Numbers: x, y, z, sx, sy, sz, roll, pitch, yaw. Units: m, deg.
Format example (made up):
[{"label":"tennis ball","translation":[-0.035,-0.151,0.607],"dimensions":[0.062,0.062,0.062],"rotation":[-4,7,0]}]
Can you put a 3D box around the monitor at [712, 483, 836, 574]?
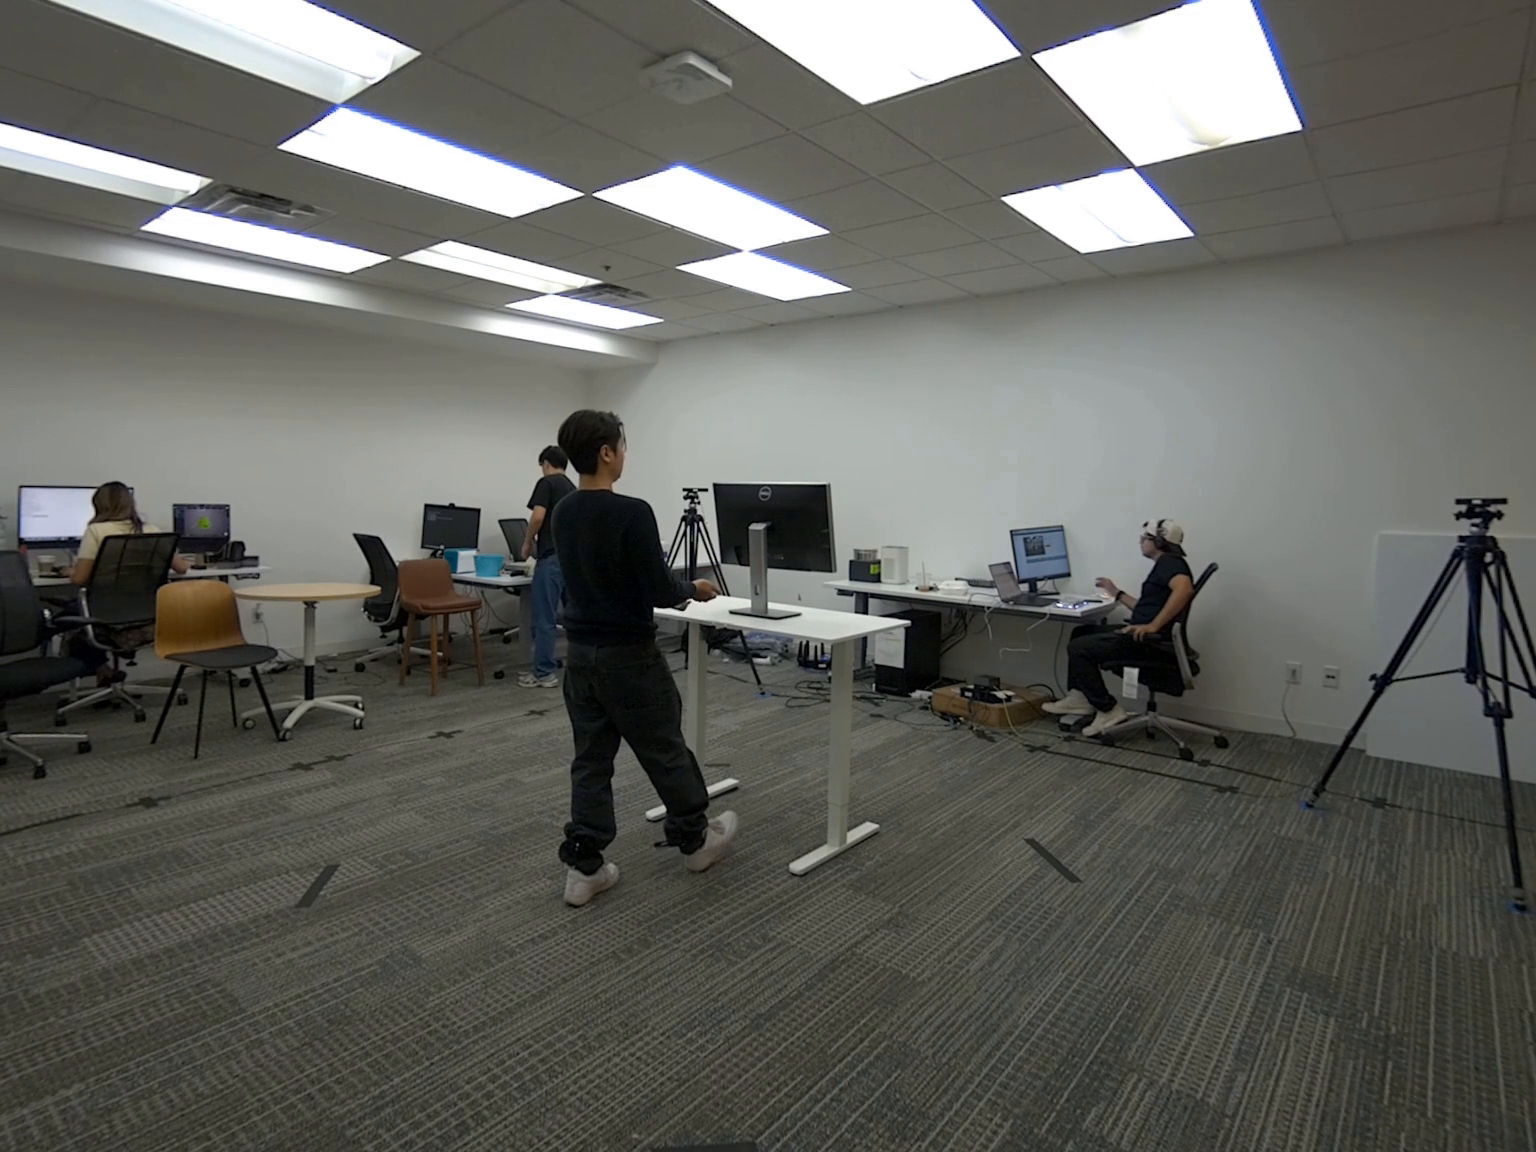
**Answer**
[{"label":"monitor","translation":[-0.016,-0.112,3.479],"dimensions":[0.556,0.522,0.182],"rotation":[4,2,33]}]
